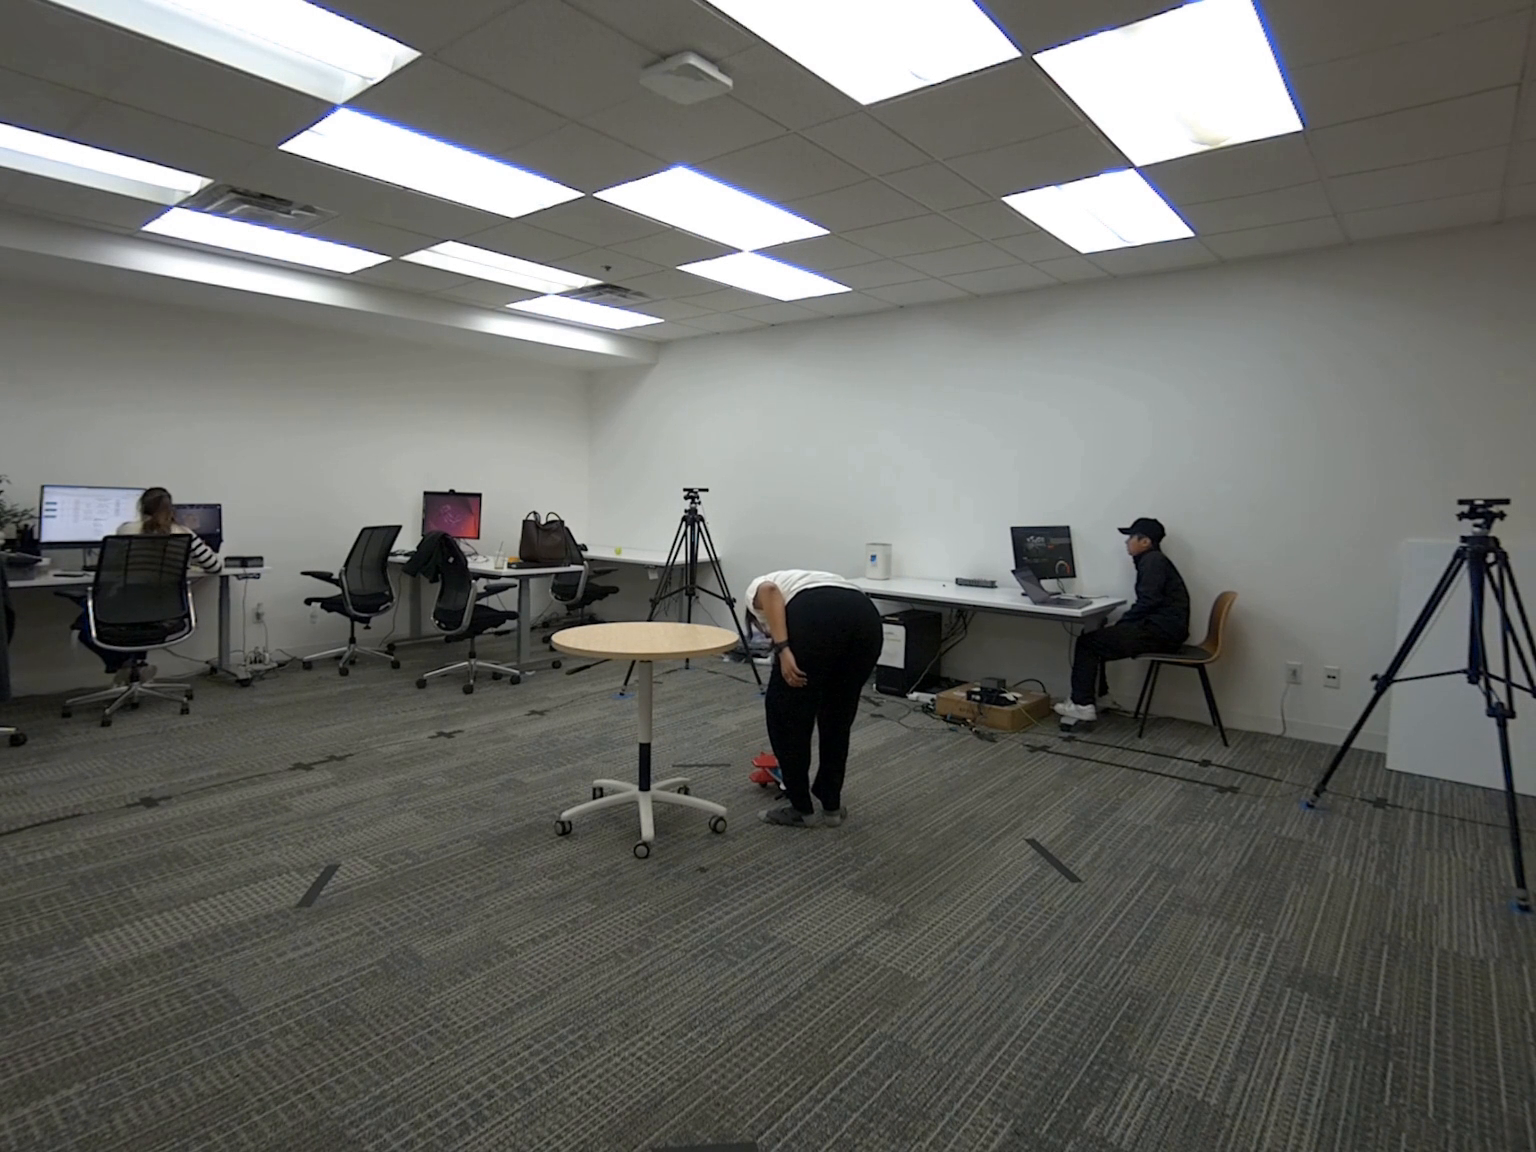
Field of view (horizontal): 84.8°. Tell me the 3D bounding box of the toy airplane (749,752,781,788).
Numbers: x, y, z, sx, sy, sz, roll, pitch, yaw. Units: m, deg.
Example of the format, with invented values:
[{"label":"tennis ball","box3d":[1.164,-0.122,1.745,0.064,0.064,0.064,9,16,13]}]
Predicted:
[{"label":"toy airplane","box3d":[0.057,0.920,3.962,0.267,0.156,0.244,3,5,34]}]
